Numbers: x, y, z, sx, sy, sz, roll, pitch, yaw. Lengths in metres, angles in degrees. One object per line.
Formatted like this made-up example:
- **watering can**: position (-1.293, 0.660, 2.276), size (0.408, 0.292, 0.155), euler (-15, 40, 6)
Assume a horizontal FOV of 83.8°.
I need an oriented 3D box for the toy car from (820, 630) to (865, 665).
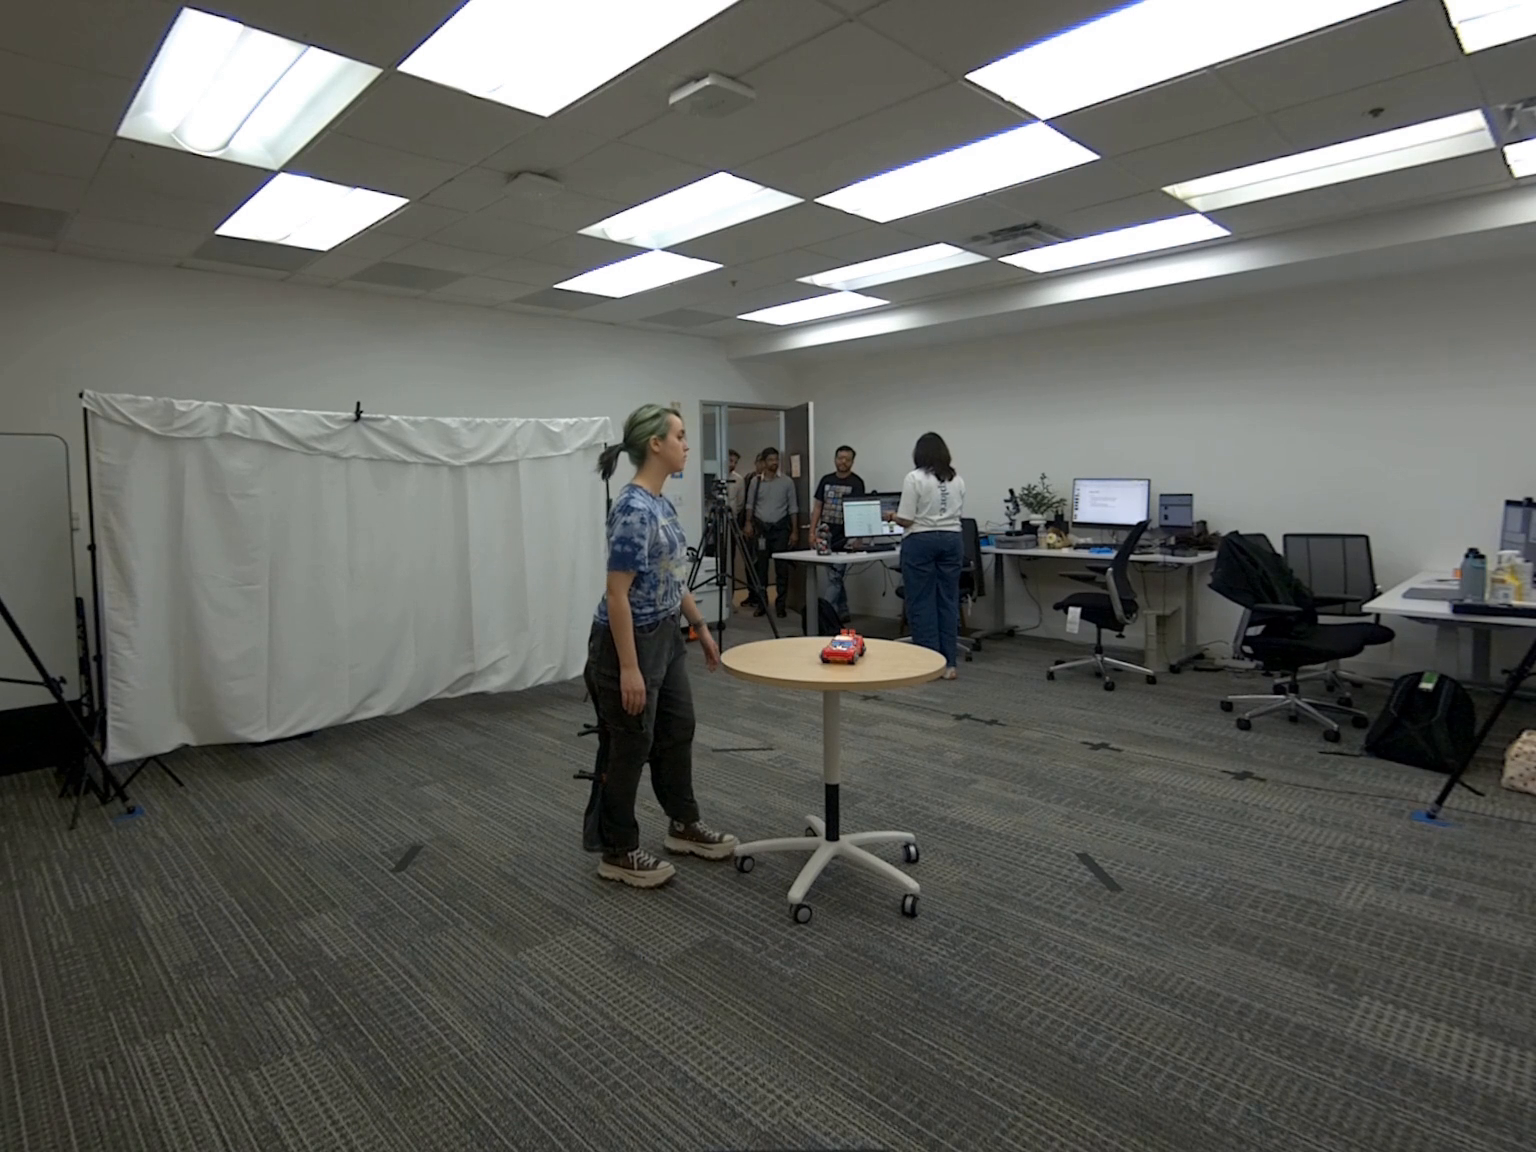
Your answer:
- **toy car**: position (0.259, 0.247, 2.917), size (0.132, 0.082, 0.254), euler (1, 17, 17)
